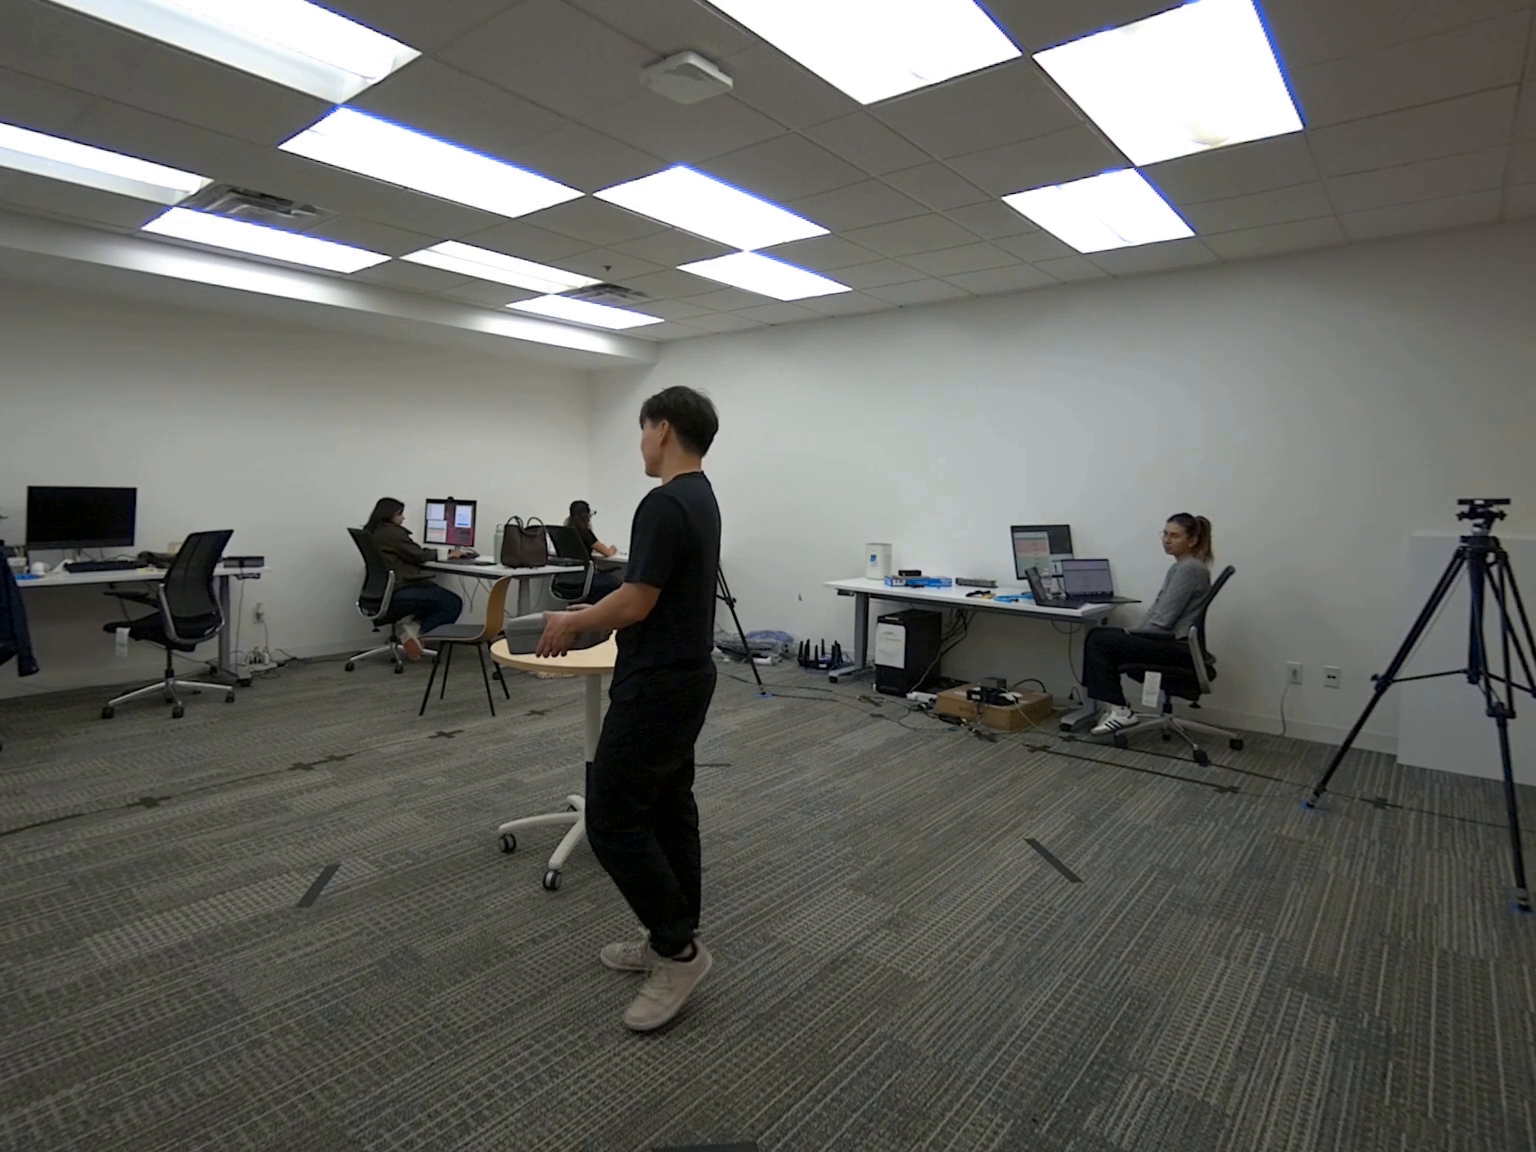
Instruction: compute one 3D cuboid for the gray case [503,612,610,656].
[{"bbox_3d":[-0.614,0.154,2.505,0.262,0.104,0.255,-3,1,6],"label":"gray case"}]
